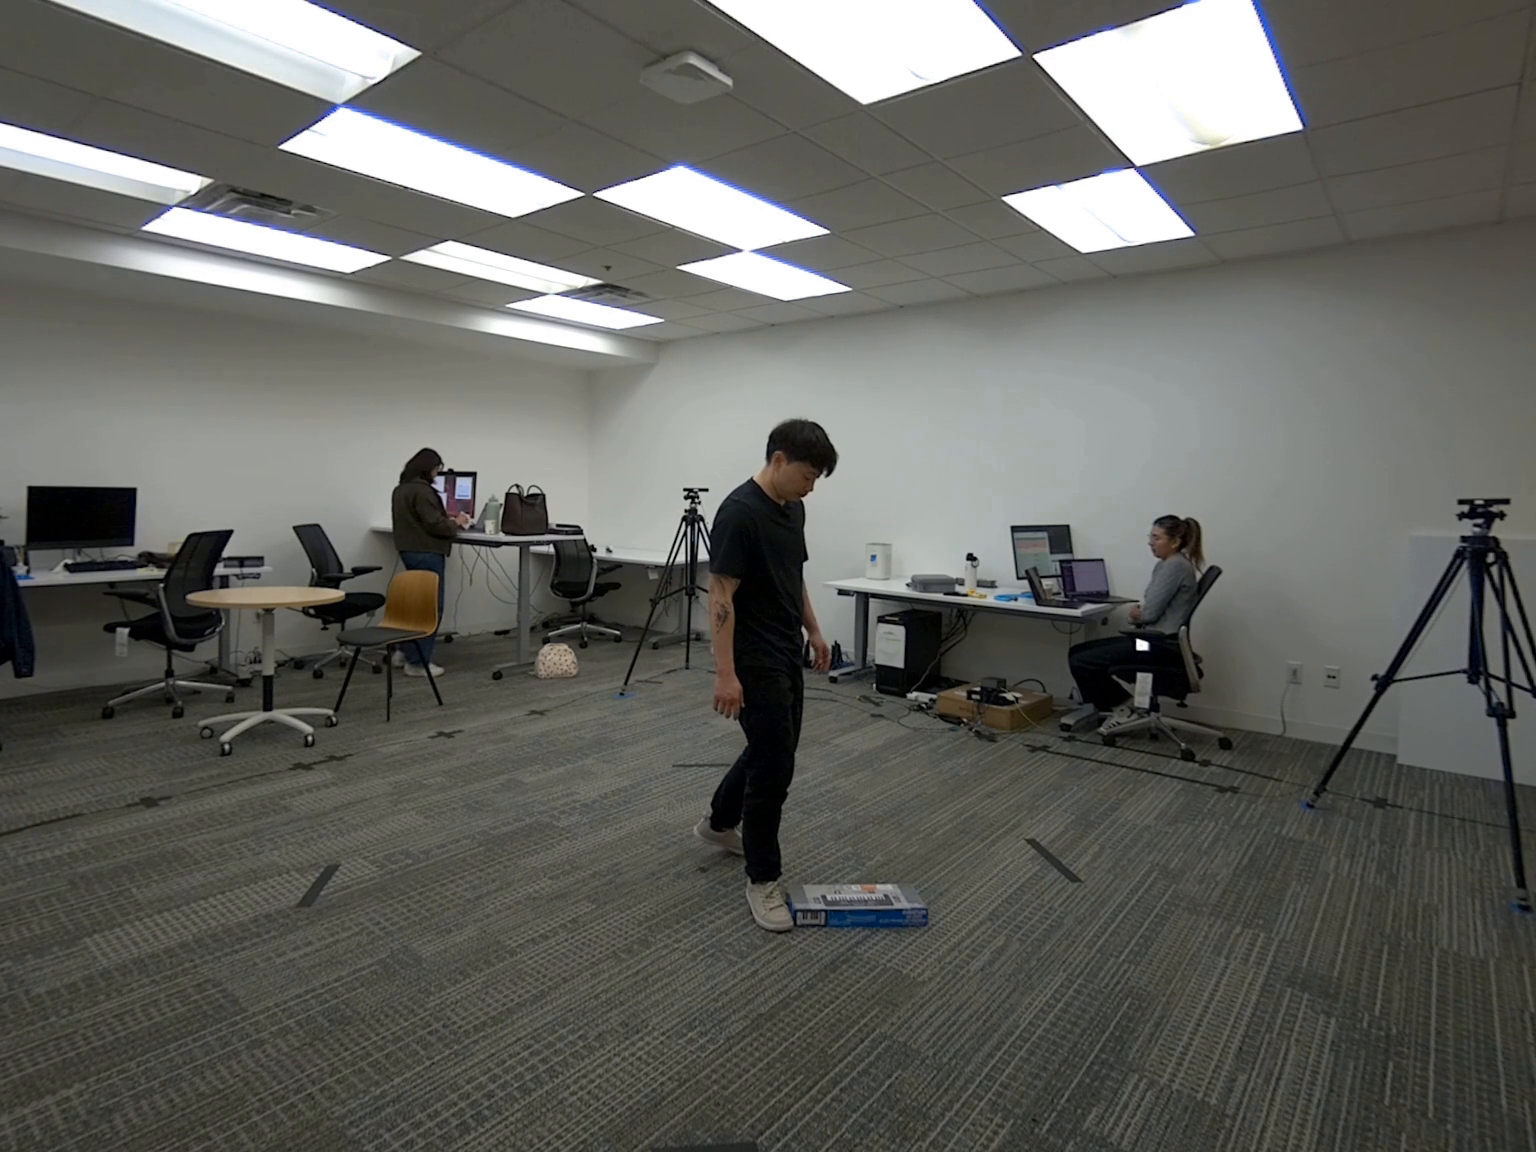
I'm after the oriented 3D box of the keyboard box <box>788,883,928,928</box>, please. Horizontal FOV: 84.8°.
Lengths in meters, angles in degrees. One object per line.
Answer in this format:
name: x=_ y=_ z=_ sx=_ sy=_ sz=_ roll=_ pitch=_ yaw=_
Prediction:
keyboard box: x=0.282 y=1.082 z=2.802 sx=0.435 sy=0.059 sz=0.177 roll=1 pitch=4 yaw=-4
